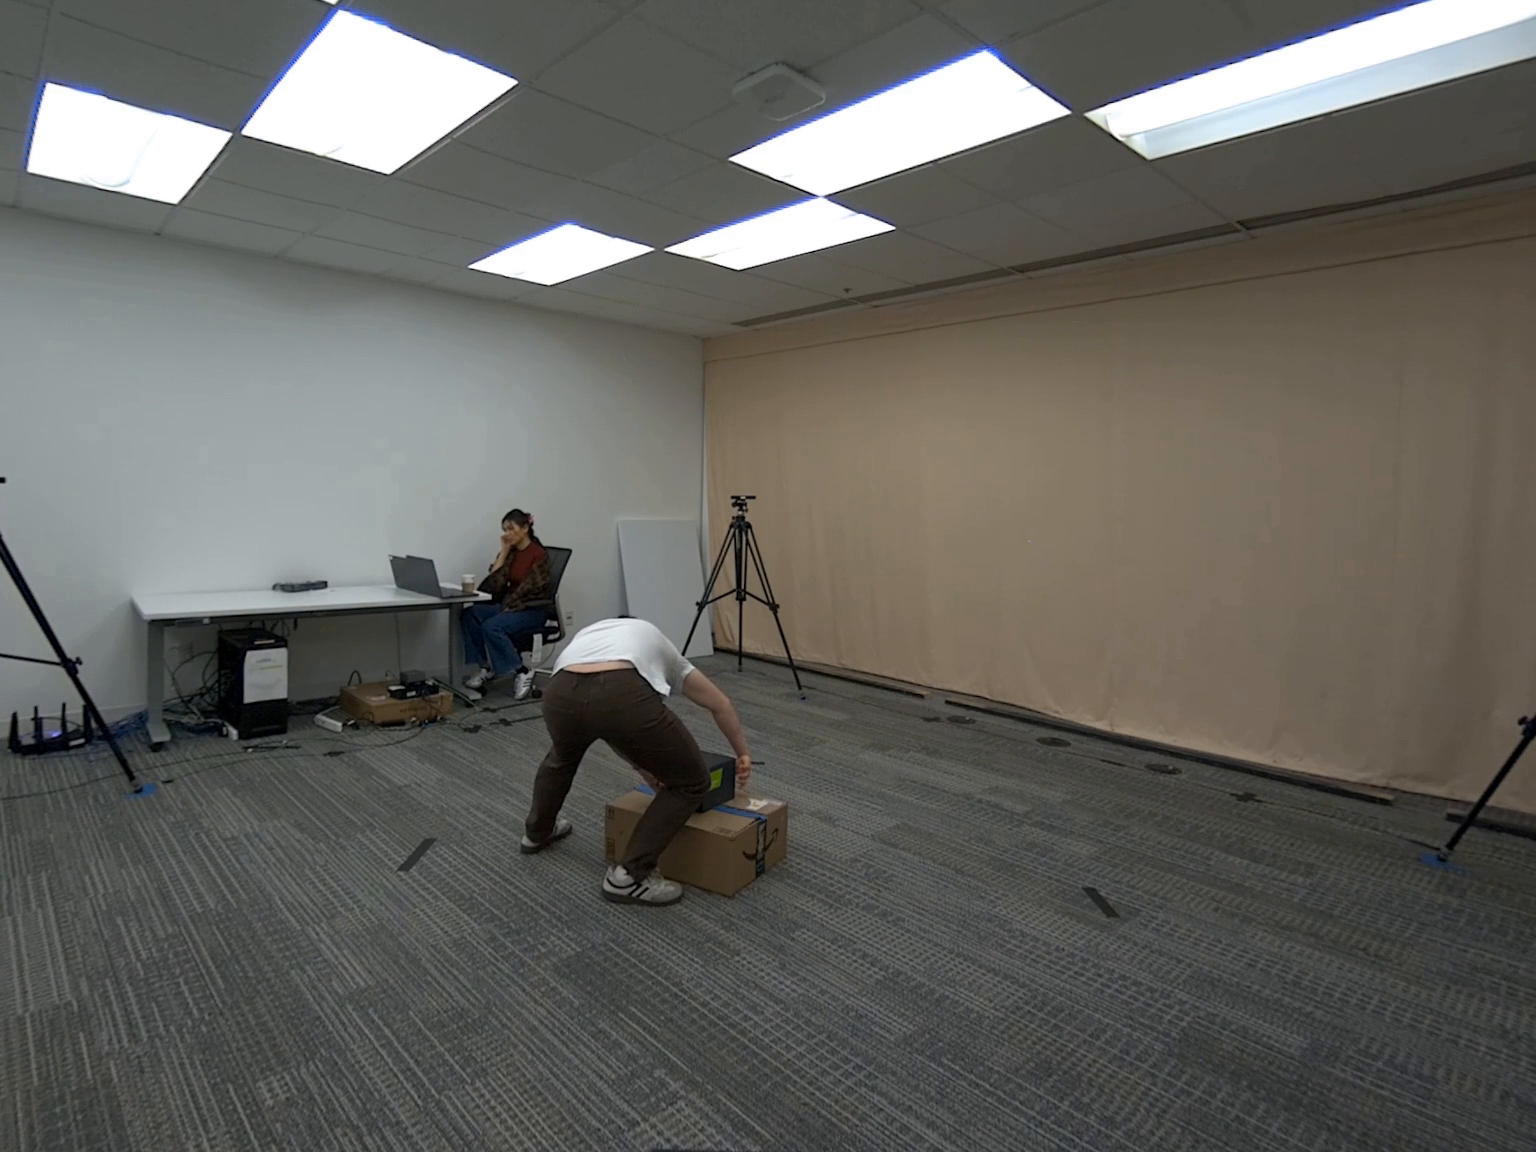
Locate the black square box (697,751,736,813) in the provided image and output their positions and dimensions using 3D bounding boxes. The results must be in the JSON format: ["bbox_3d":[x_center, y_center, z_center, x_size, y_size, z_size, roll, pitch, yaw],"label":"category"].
[{"bbox_3d":[-0.281,0.786,3.256,0.222,0.156,0.223,4,3,31],"label":"black square box"}]
